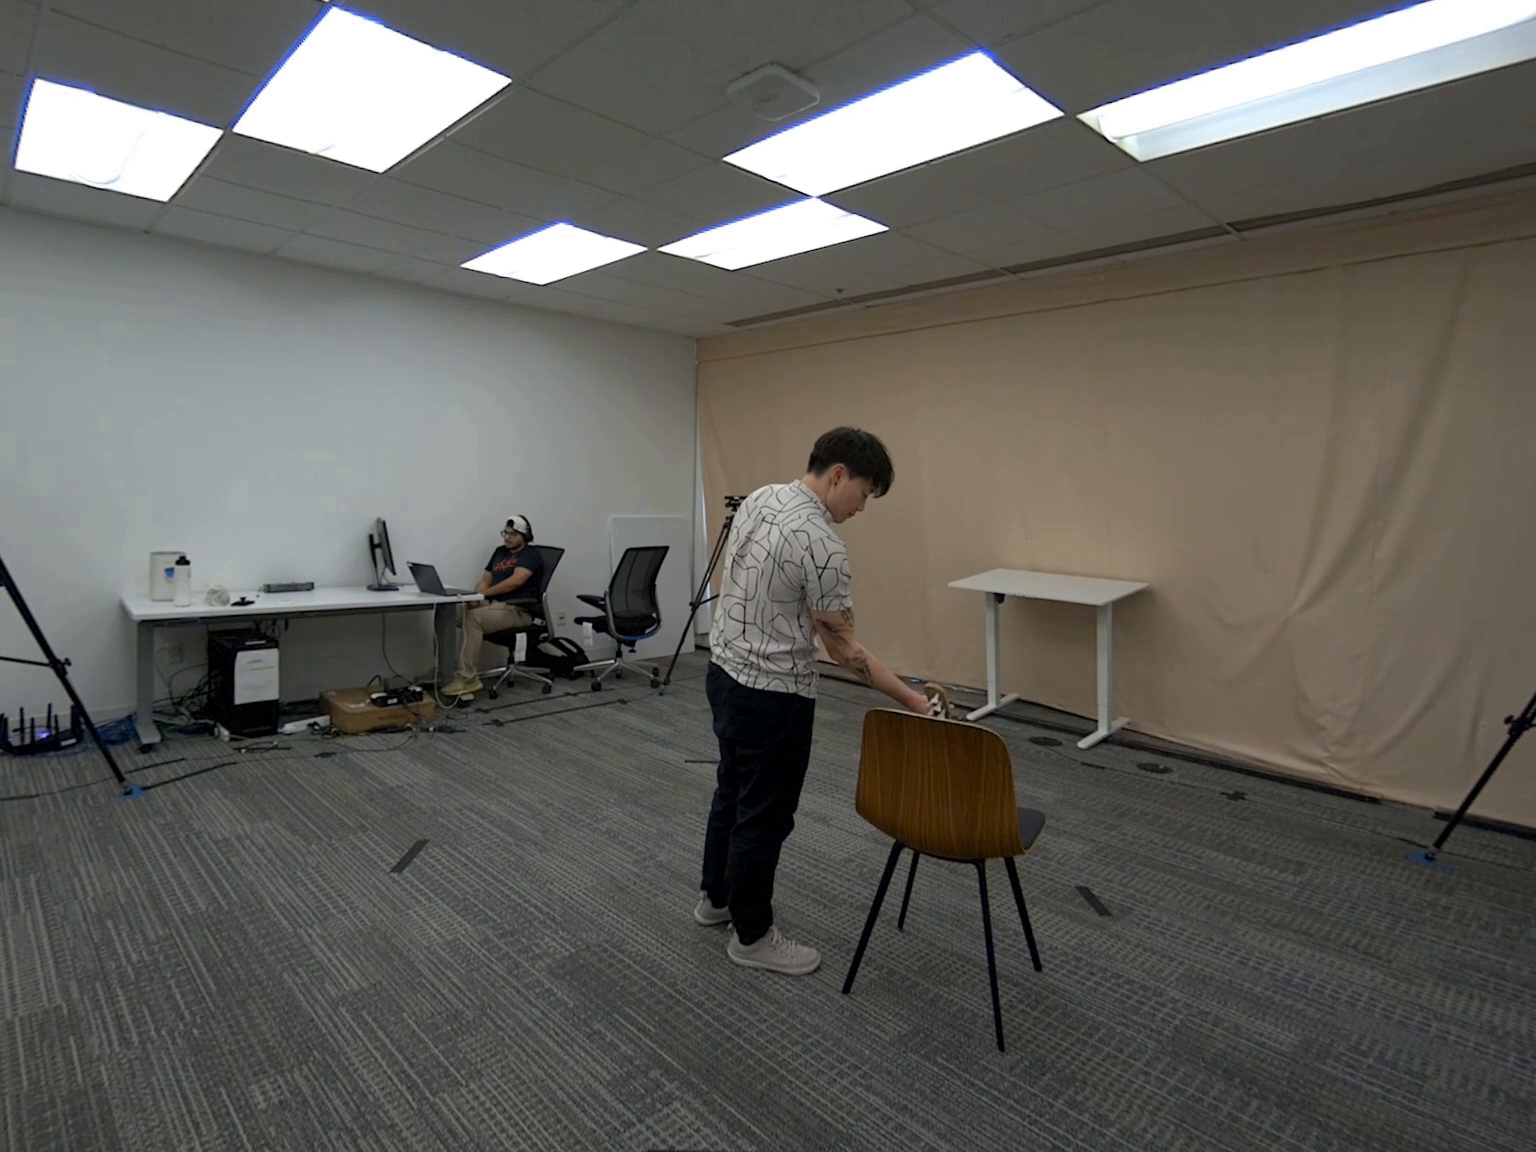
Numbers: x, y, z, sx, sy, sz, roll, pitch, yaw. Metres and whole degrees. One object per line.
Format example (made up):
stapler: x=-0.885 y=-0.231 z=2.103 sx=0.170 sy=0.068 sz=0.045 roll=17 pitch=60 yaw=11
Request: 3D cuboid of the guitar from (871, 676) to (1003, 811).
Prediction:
guitar: x=0.476 y=0.466 z=2.359 sx=0.198 sy=0.483 sz=0.071 roll=6 pitch=50 yaw=43
